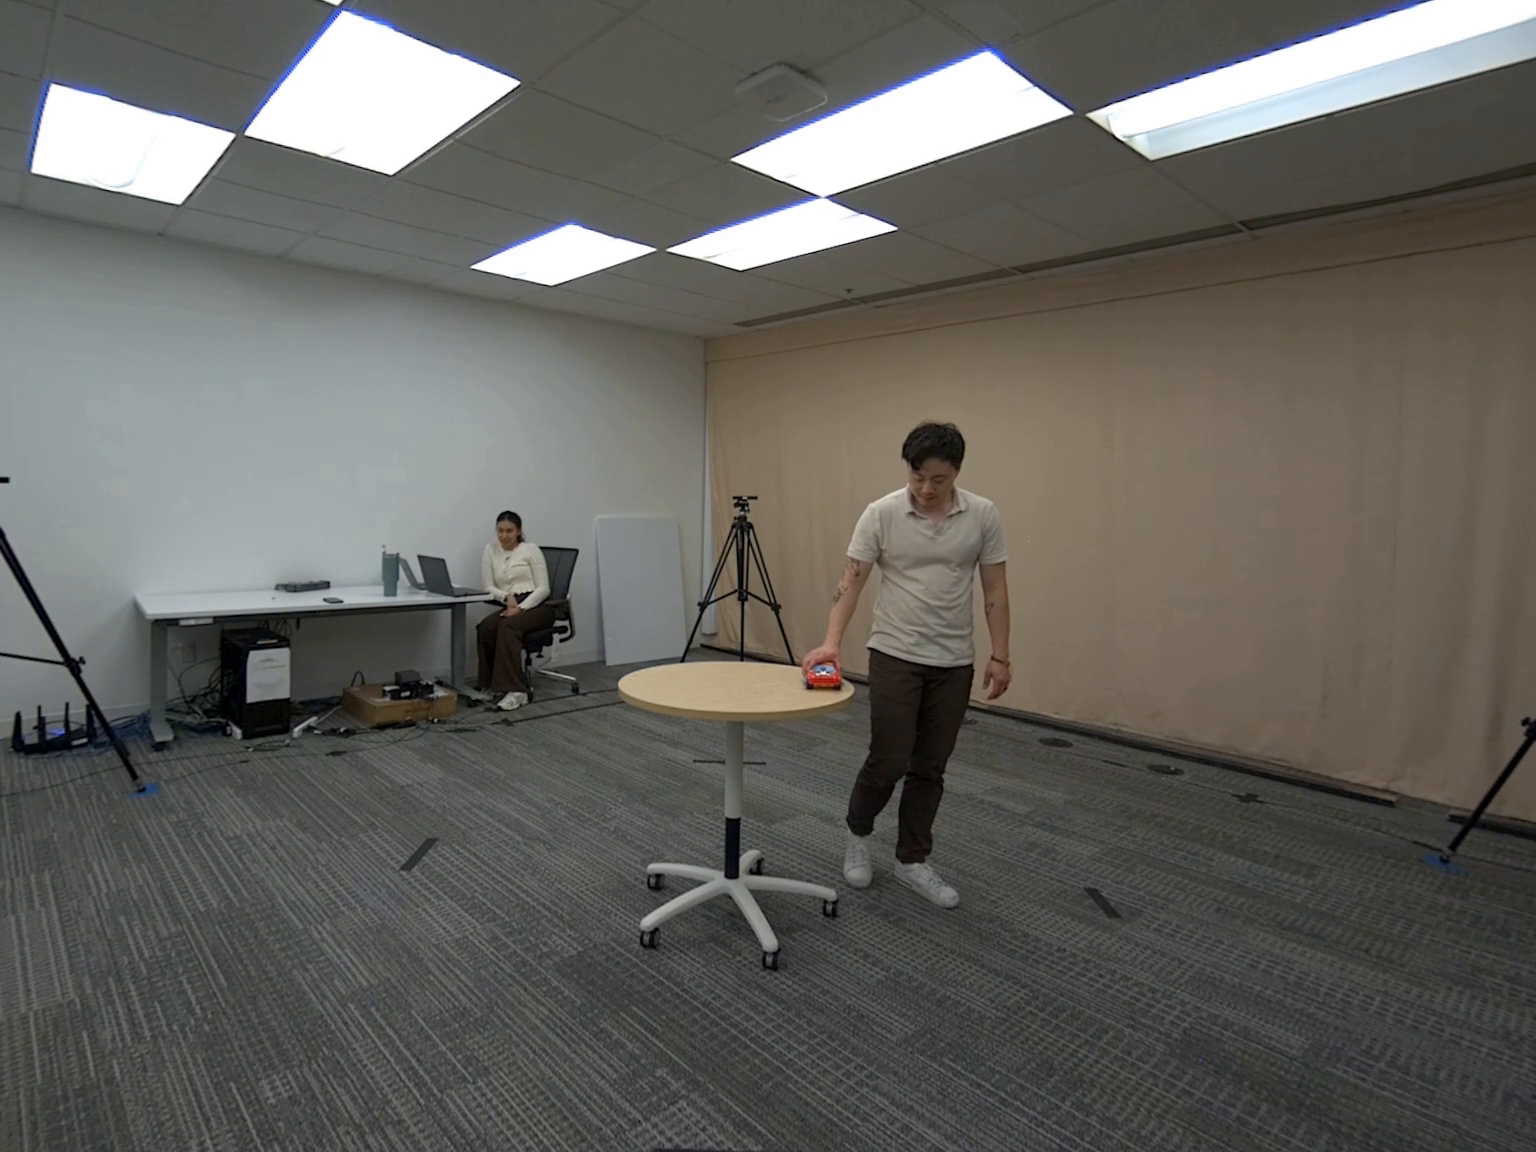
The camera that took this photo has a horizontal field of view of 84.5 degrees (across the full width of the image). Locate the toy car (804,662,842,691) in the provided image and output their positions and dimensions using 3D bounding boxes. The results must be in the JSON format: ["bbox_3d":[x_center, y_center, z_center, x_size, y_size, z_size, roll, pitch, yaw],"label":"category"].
[{"bbox_3d":[0.171,0.325,2.779,0.130,0.082,0.257,0,15,-1],"label":"toy car"}]
